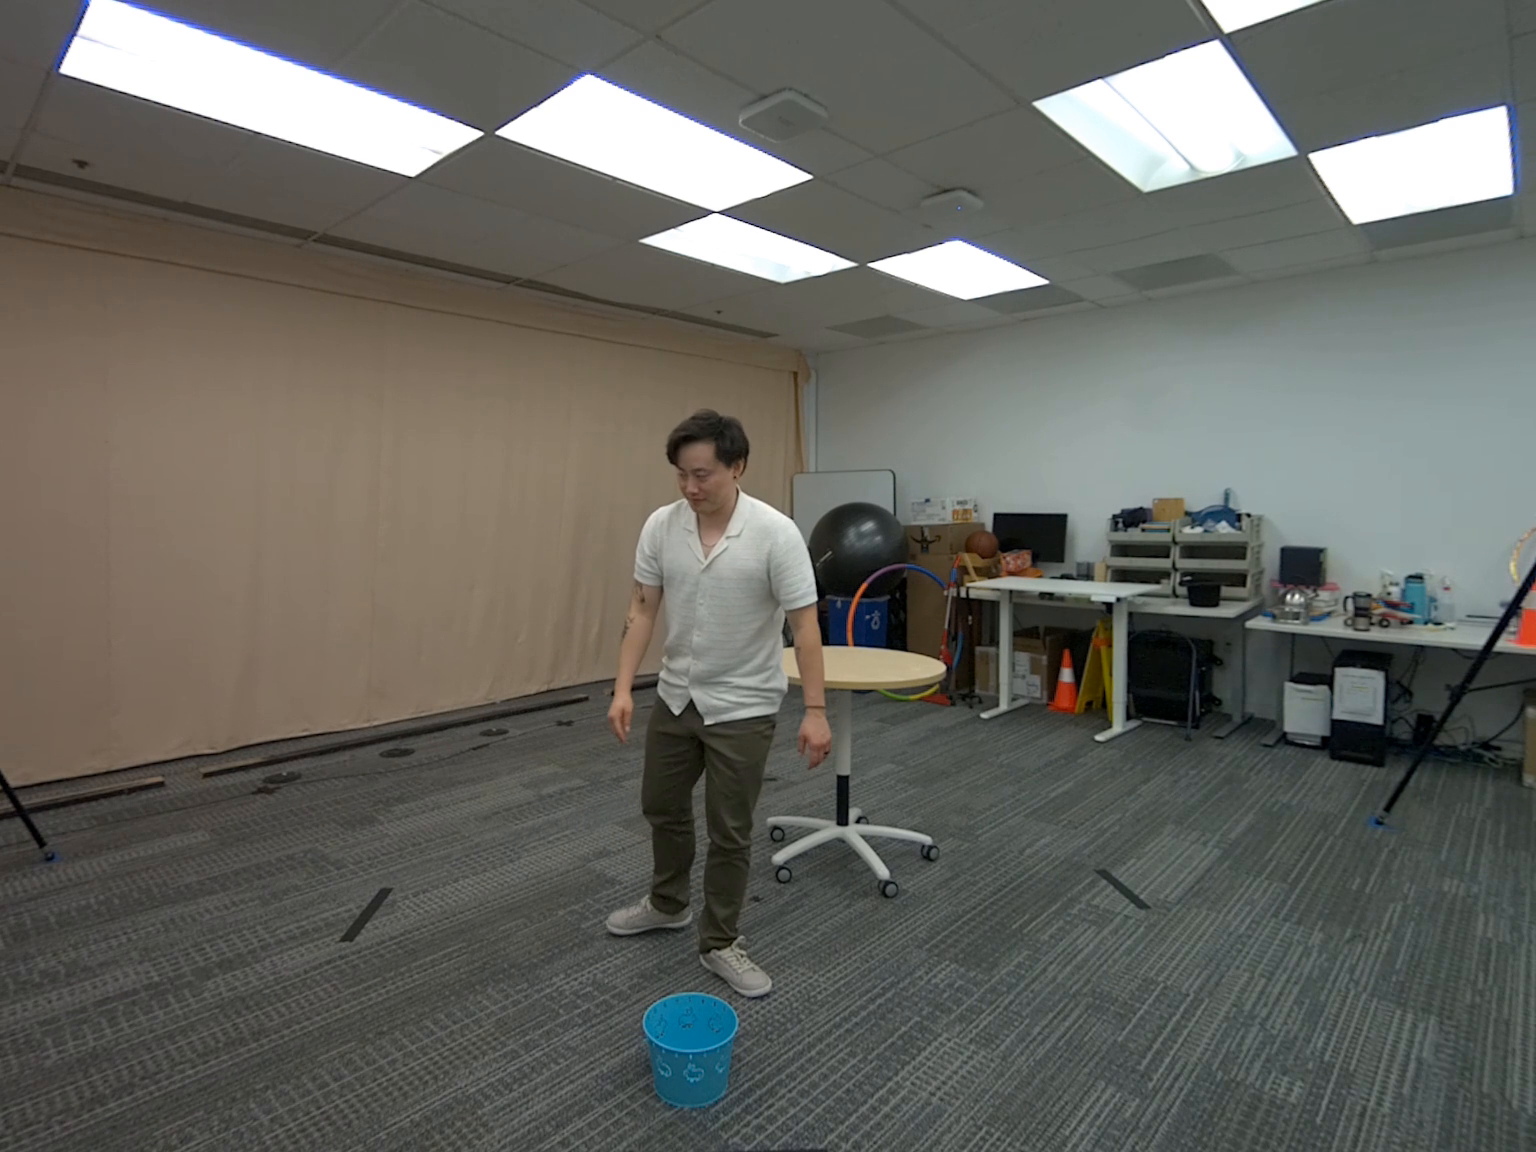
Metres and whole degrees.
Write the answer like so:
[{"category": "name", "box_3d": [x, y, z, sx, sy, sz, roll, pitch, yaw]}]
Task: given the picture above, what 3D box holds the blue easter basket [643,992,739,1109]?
[{"category": "blue easter basket", "box_3d": [-0.183, 1.146, 2.037, 0.243, 0.155, 0.244, 0, 3, -2]}]
